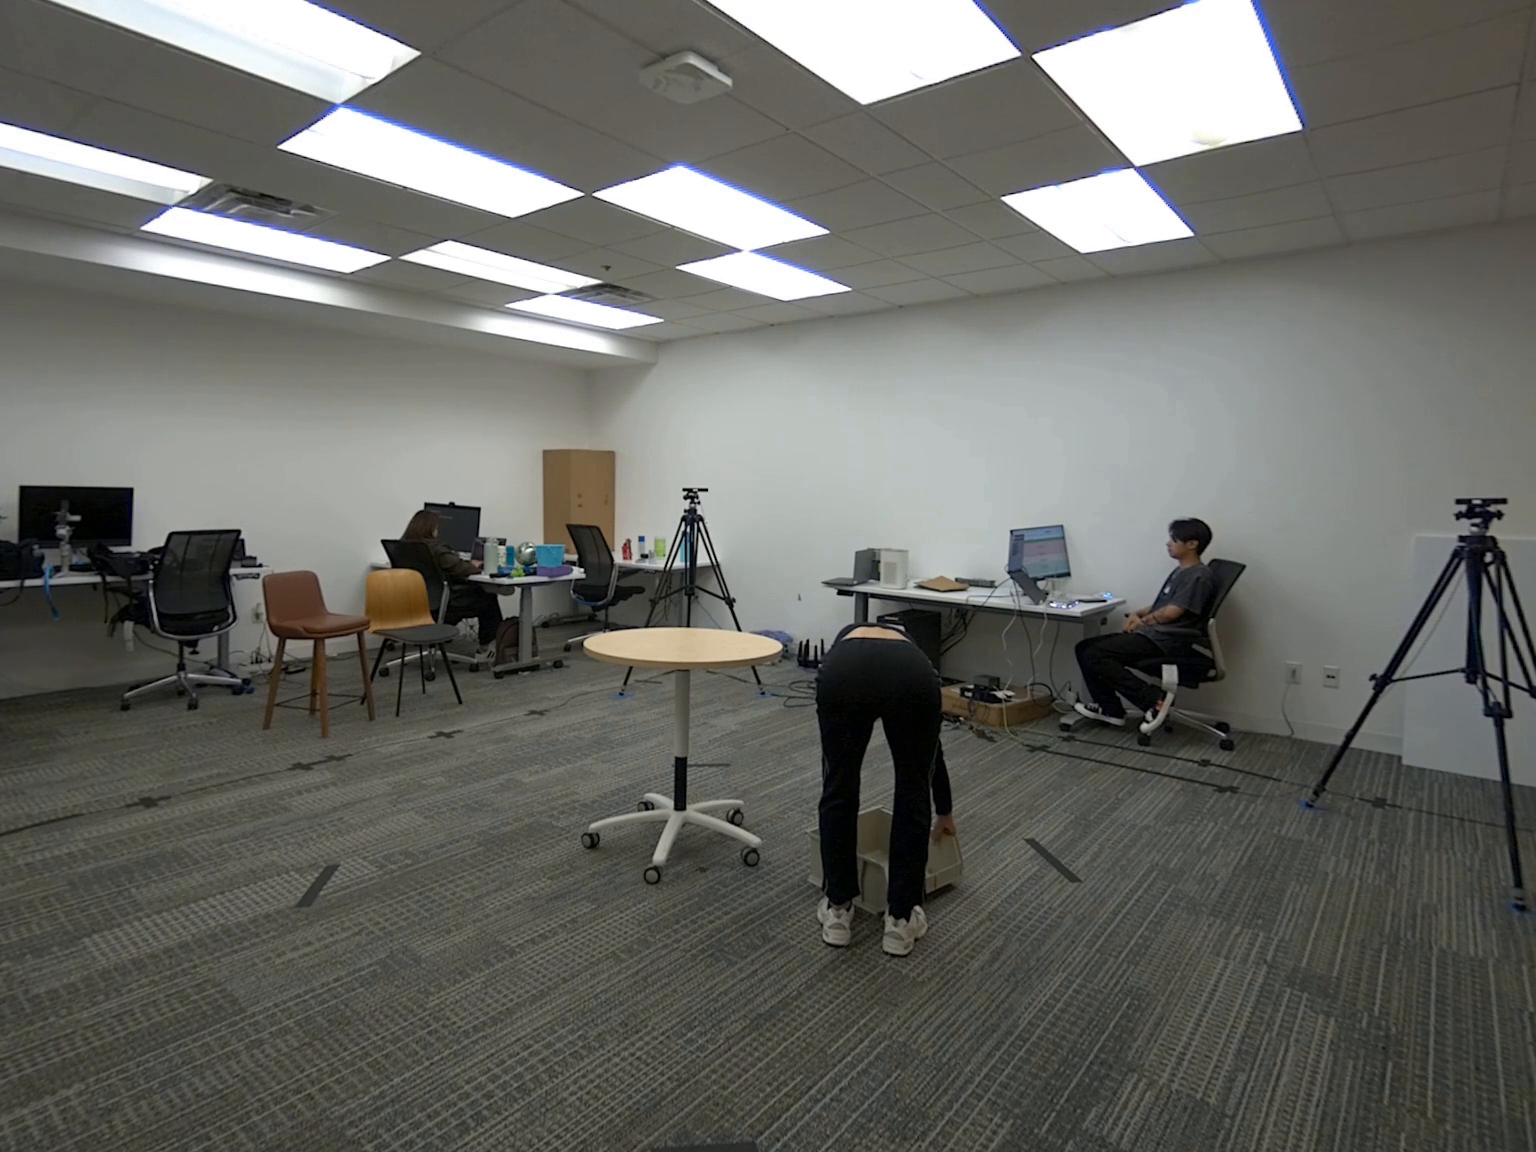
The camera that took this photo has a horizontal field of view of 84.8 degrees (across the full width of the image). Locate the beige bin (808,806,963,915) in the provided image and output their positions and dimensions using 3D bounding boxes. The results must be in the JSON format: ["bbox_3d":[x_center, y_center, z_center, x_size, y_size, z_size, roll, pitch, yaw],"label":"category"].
[{"bbox_3d":[0.413,0.999,3.026,0.410,0.188,0.390,-5,7,-42],"label":"beige bin"}]
